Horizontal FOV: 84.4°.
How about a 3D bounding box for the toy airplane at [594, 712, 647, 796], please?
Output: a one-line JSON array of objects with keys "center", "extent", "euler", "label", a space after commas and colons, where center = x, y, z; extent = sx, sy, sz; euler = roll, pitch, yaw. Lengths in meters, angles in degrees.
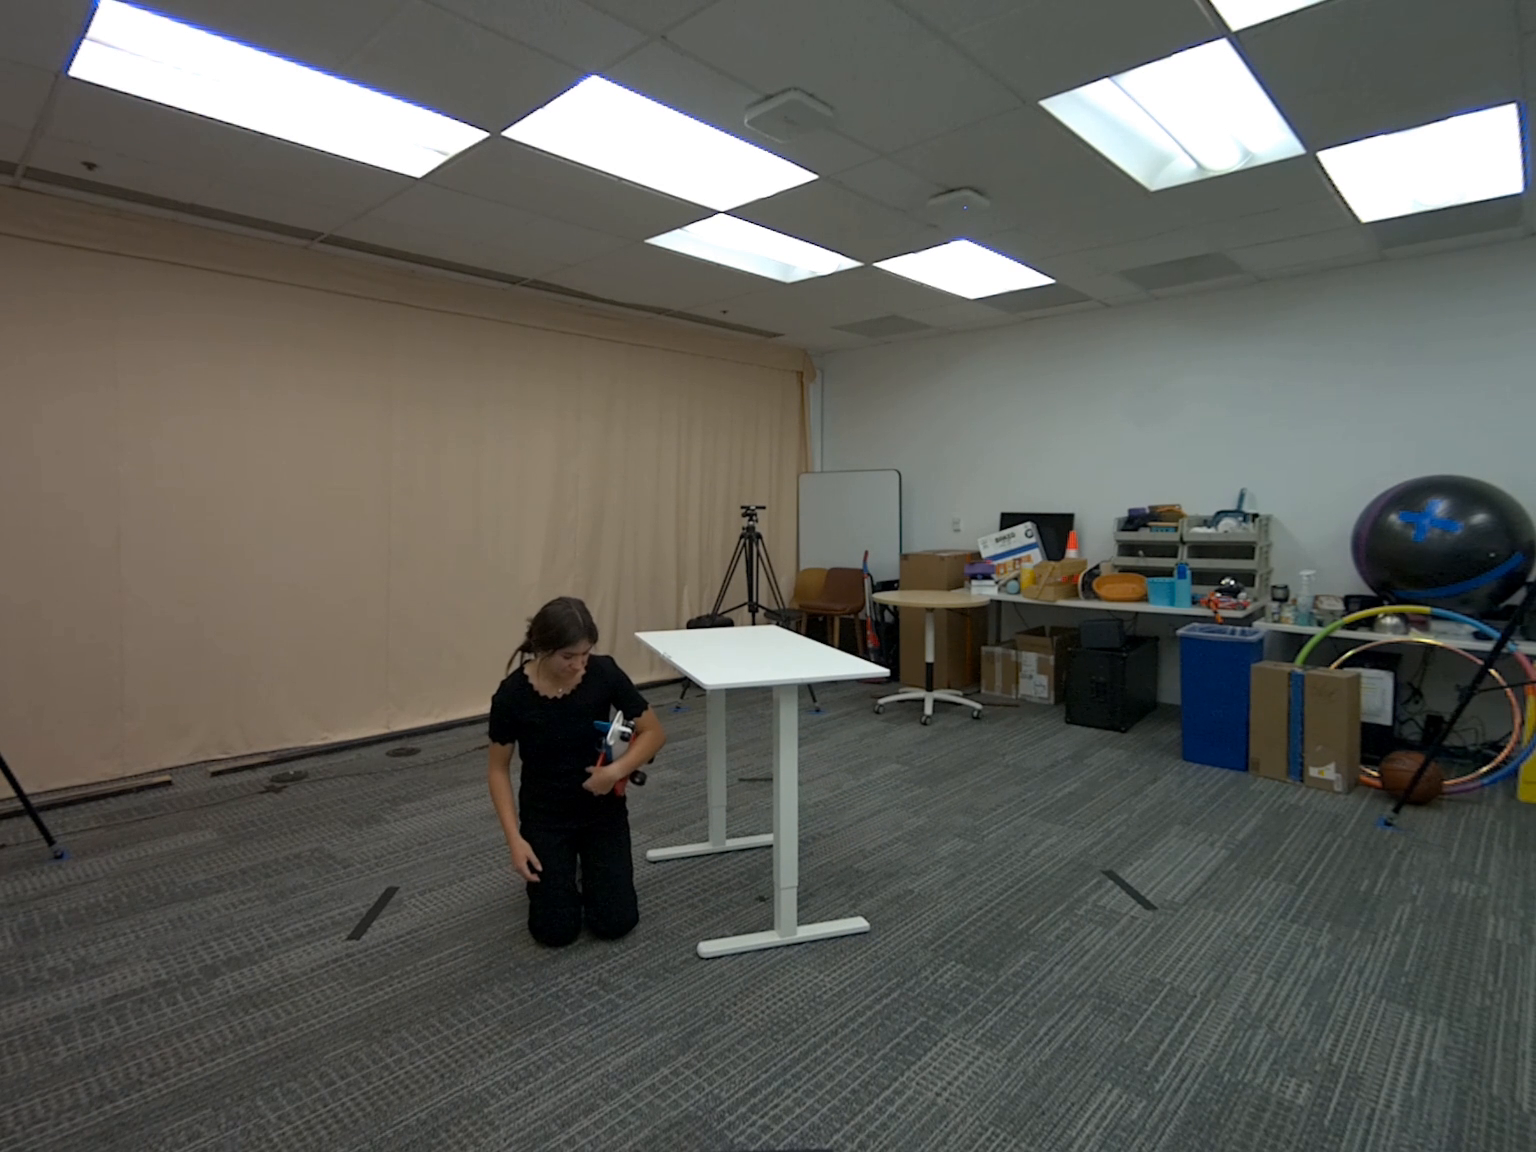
[{"center": [-0.467, 0.545, 2.711], "extent": [0.159, 0.257, 0.248], "euler": [-3, 13, 19], "label": "toy airplane"}]
